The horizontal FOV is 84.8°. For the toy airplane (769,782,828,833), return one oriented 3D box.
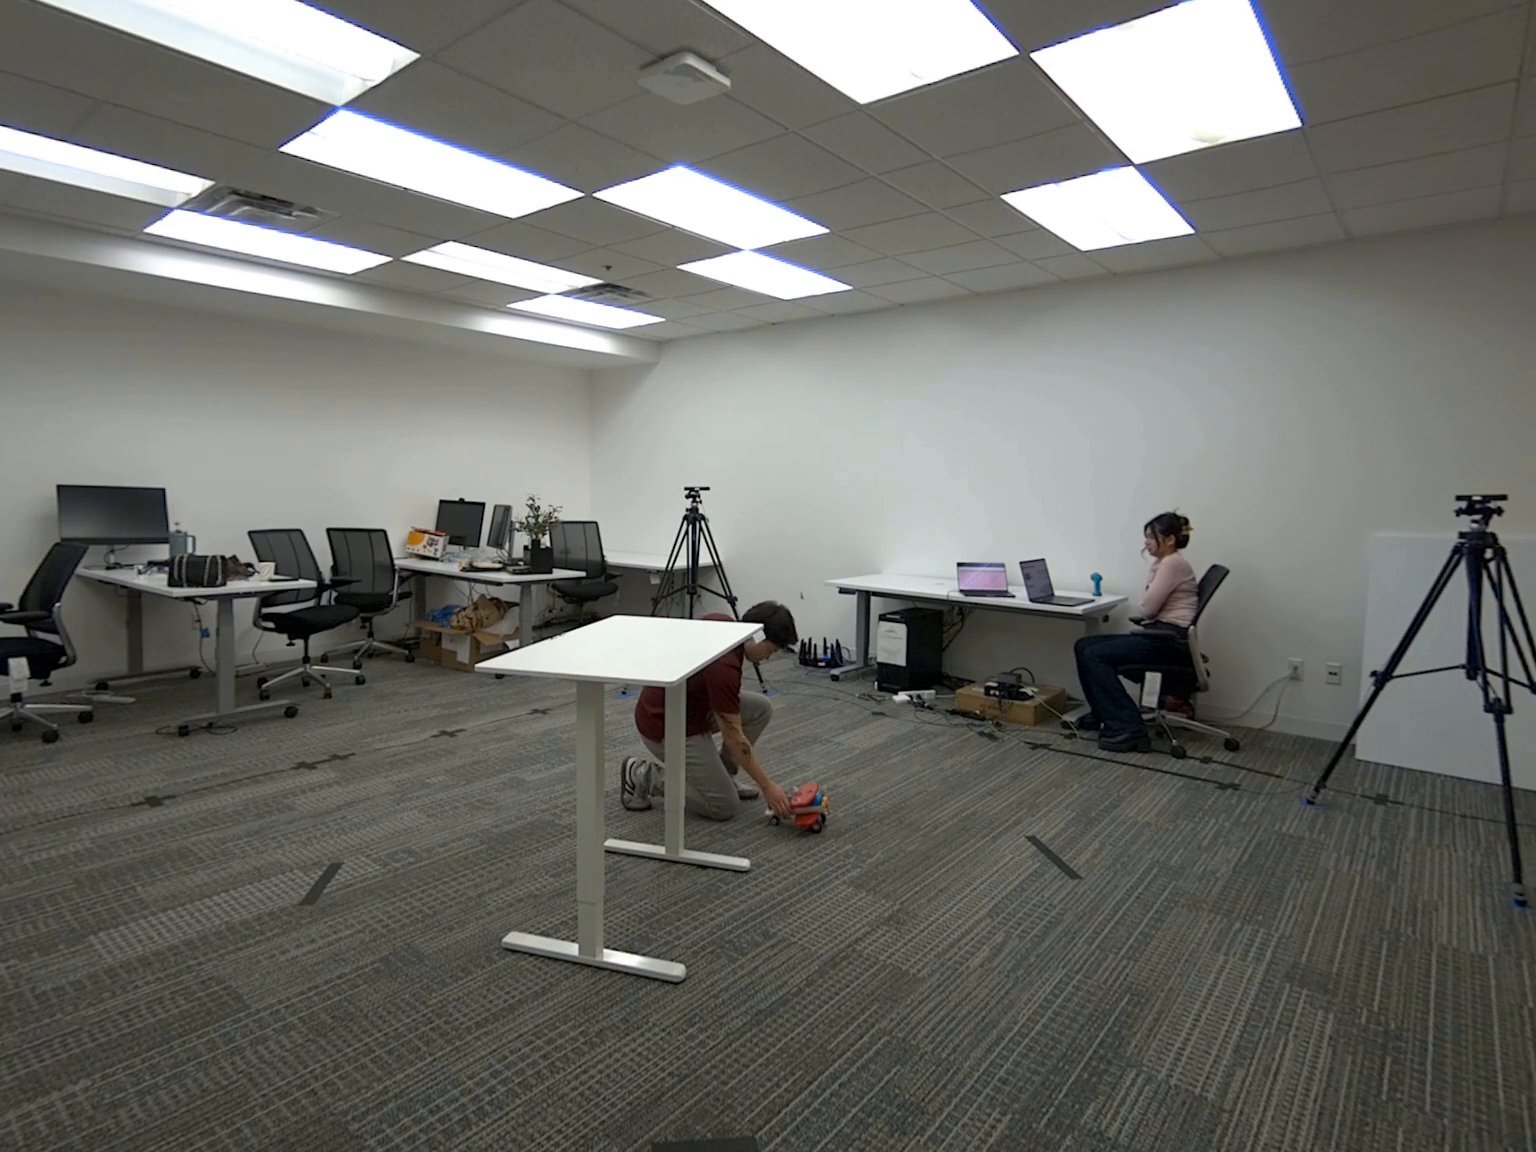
[{"bbox_3d":[0.108,0.962,3.498,0.256,0.156,0.256,0,6,-14],"label":"toy airplane"}]
